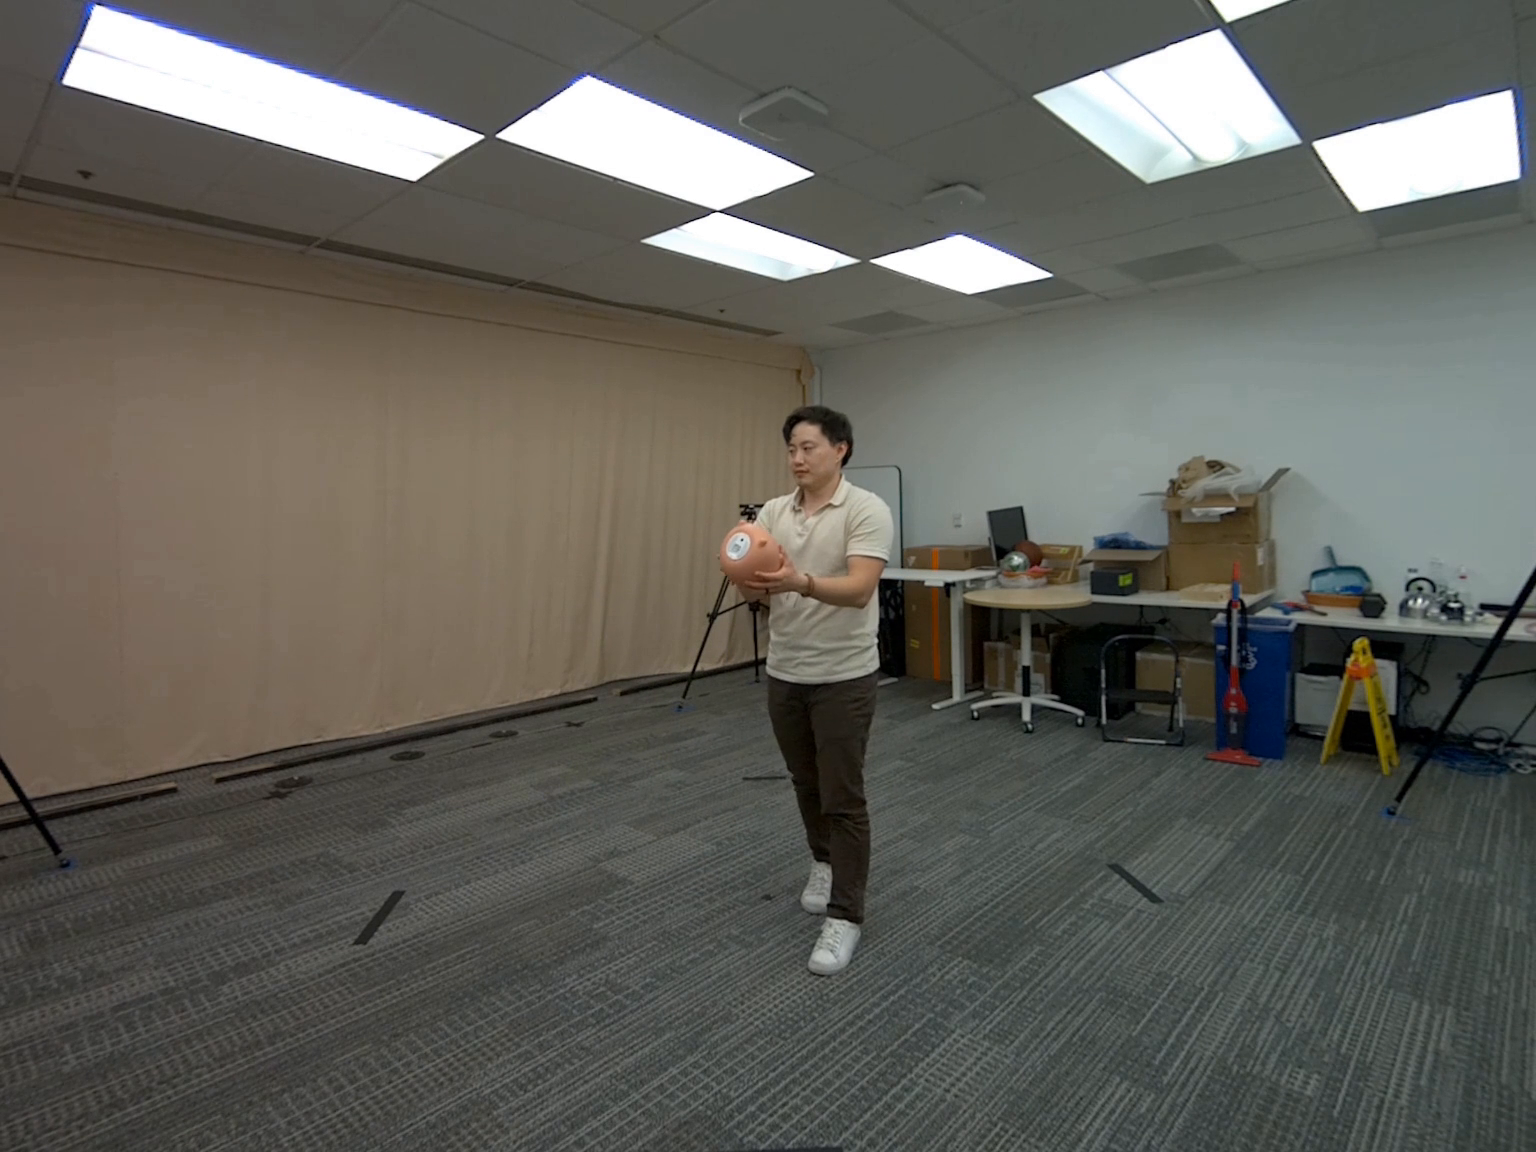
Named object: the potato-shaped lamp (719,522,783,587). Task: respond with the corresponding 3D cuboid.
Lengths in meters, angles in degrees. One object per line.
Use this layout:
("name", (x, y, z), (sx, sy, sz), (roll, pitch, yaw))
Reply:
("potato-shaped lamp", (-0.031, -0.044, 2.341), (0.171, 0.171, 0.191), (38, 6, 40))
